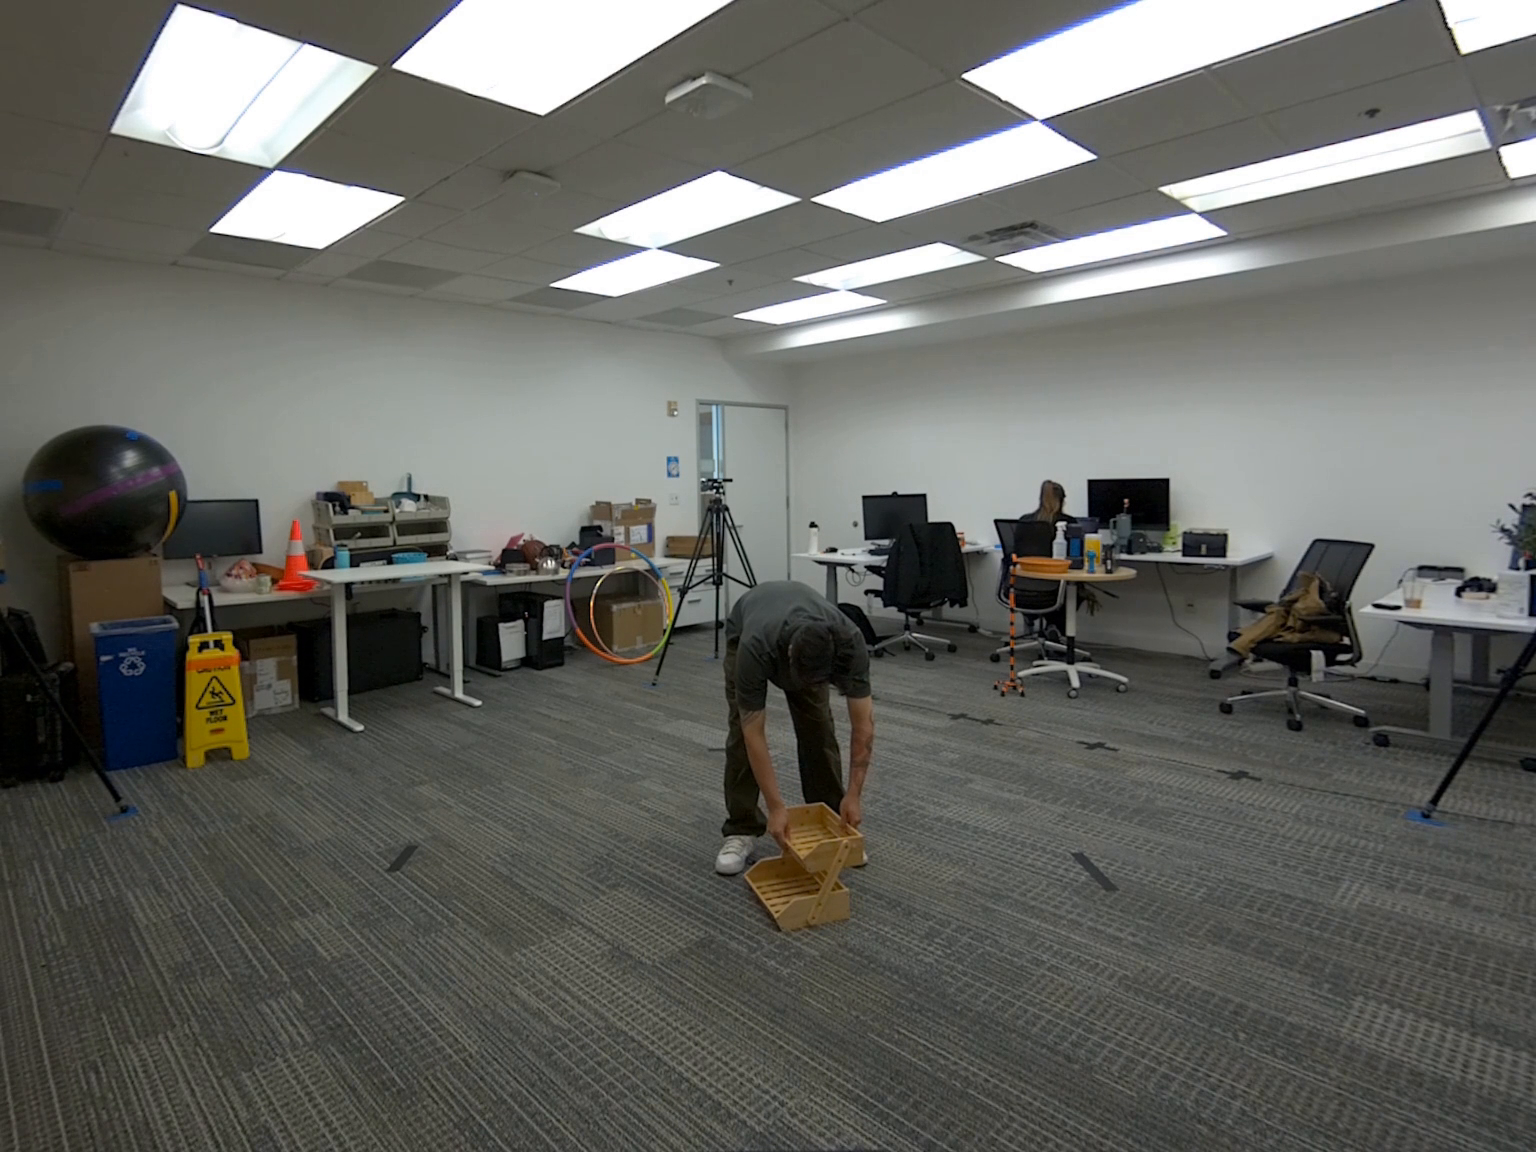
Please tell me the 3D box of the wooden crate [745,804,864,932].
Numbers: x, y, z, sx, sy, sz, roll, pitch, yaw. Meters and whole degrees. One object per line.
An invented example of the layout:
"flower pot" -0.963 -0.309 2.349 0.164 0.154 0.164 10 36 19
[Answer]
"wooden crate" 0.109 0.945 2.803 0.297 0.272 0.331 -3 6 -19
